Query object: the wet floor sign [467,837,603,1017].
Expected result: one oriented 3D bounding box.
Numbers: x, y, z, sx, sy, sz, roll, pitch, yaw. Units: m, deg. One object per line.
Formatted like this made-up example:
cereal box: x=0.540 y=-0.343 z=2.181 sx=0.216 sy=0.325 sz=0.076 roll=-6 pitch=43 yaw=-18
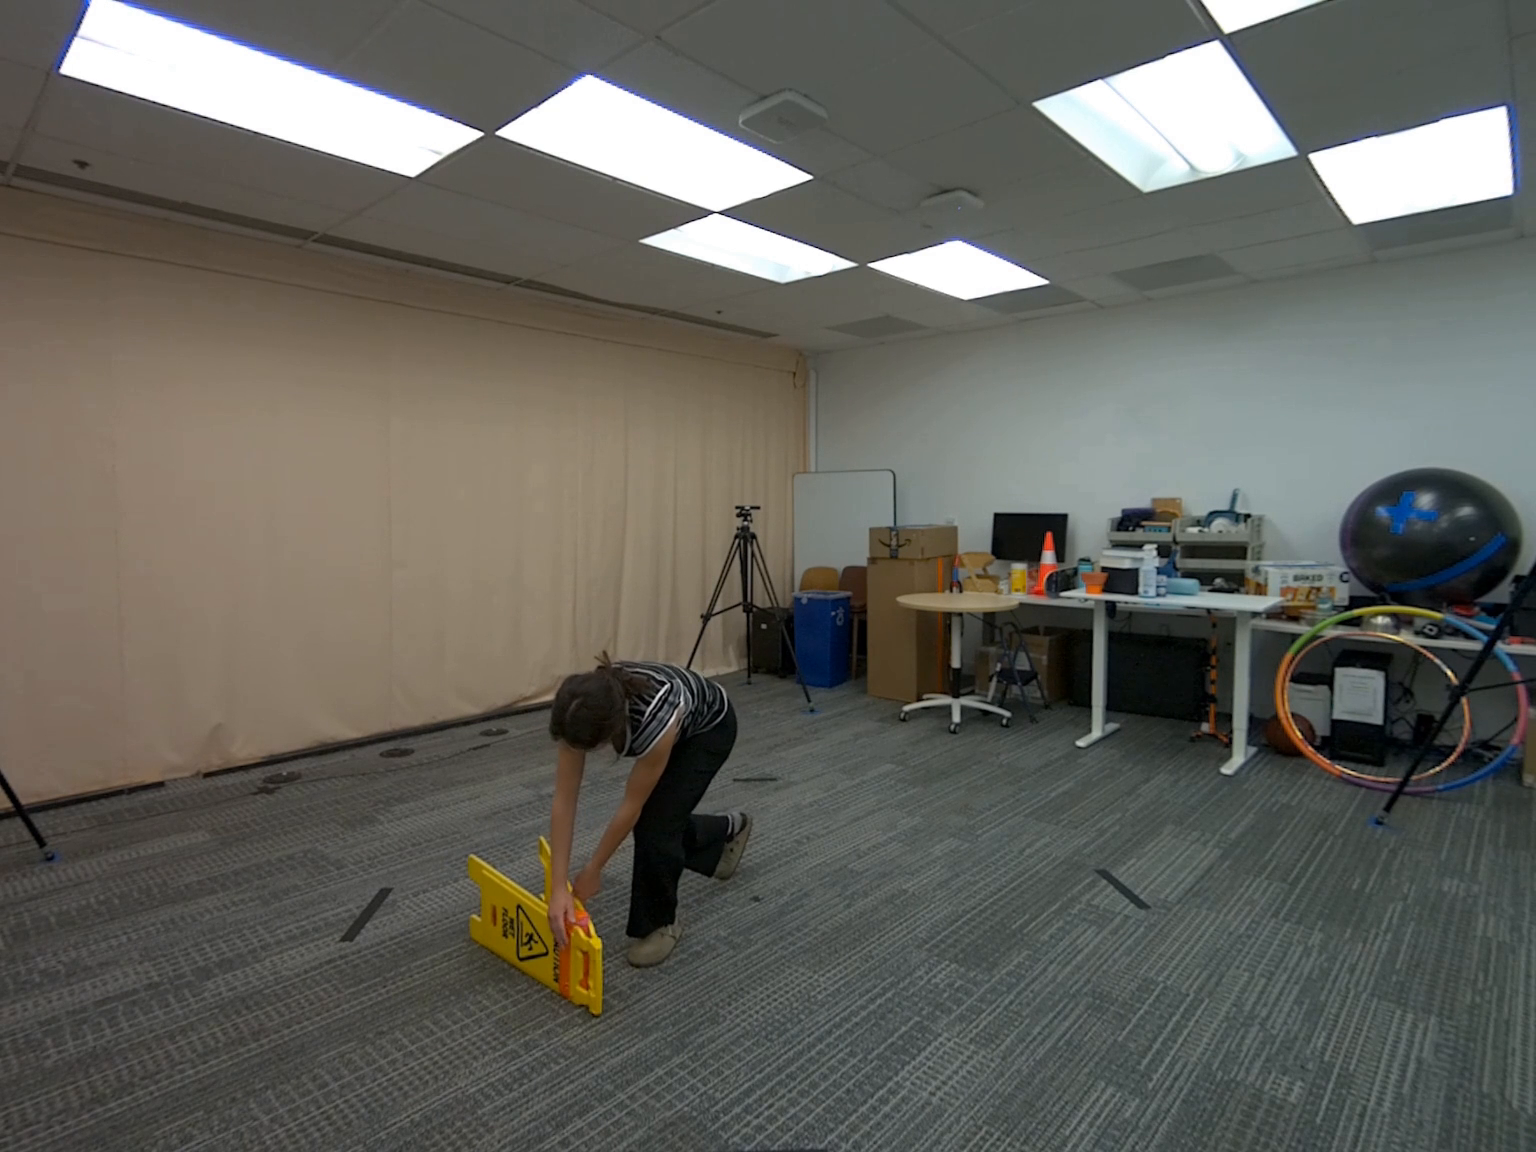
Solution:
wet floor sign: x=-0.662 y=1.065 z=2.532 sx=0.281 sy=0.281 sz=0.668 roll=-4 pitch=8 yaw=-38
